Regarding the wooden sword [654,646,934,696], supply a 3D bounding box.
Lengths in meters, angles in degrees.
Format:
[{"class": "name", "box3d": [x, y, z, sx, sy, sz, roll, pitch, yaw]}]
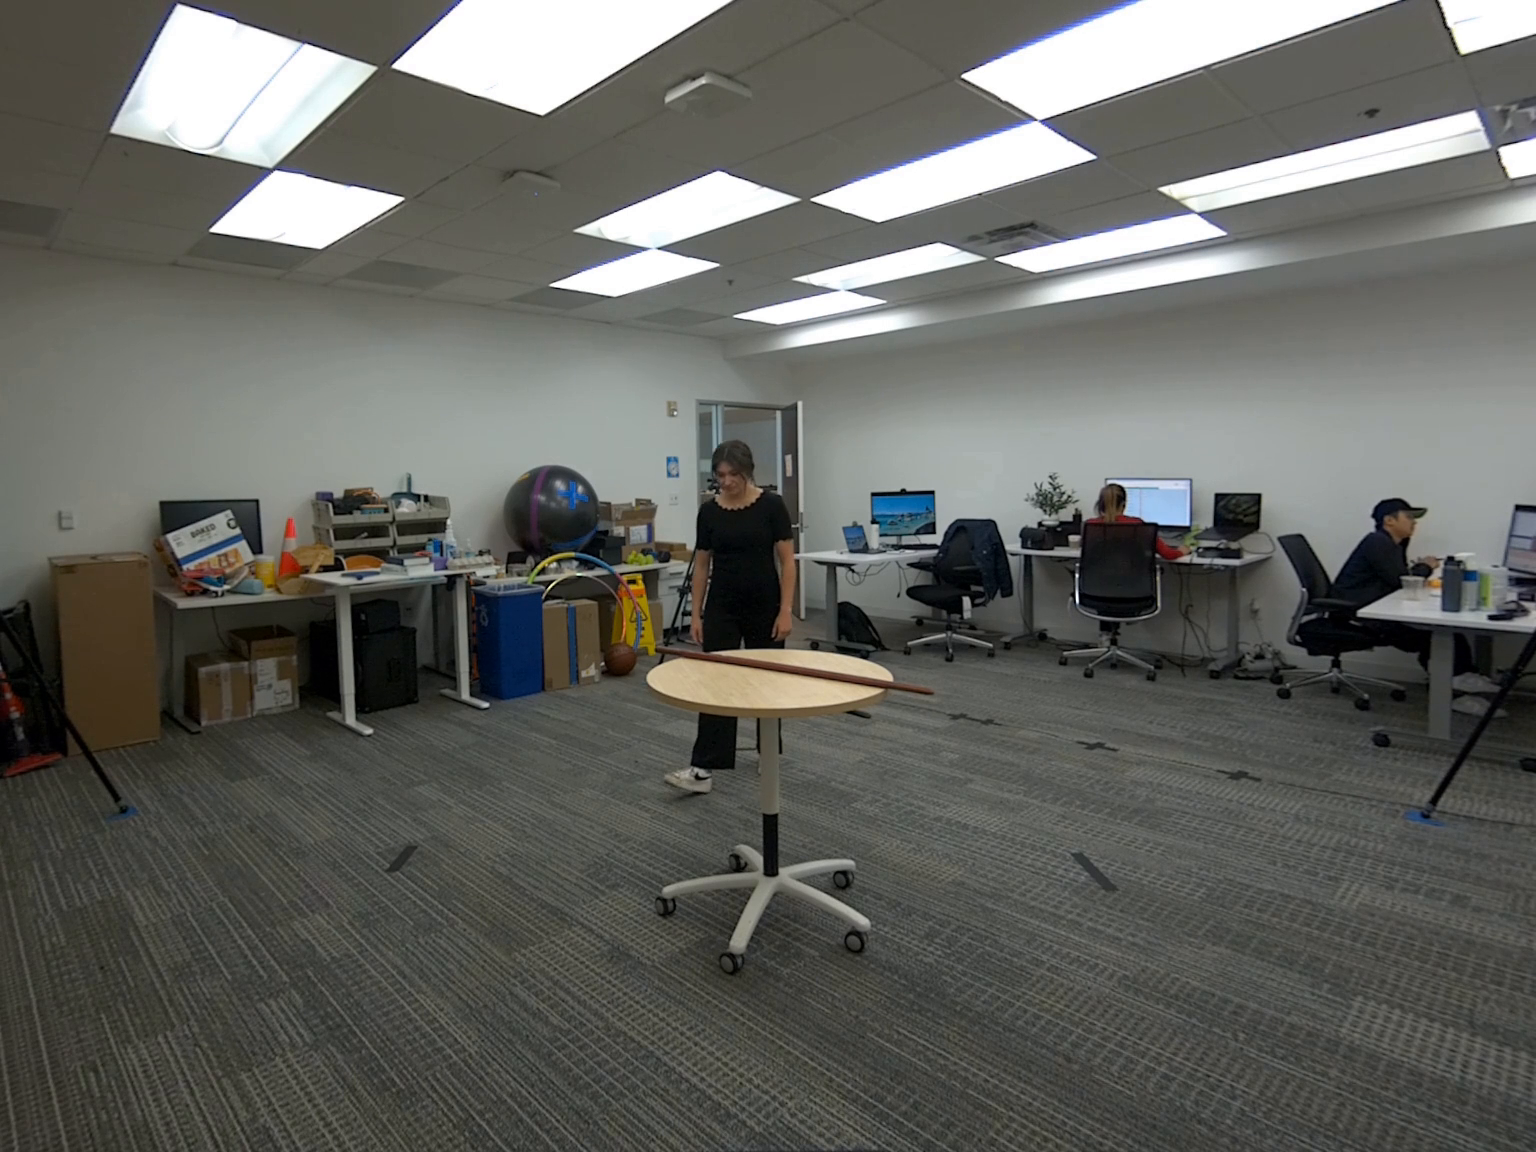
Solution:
[{"class": "wooden sword", "box3d": [0.039, 0.294, 2.735, 1.056, 0.023, 0.051, 5, 24, 37]}]
